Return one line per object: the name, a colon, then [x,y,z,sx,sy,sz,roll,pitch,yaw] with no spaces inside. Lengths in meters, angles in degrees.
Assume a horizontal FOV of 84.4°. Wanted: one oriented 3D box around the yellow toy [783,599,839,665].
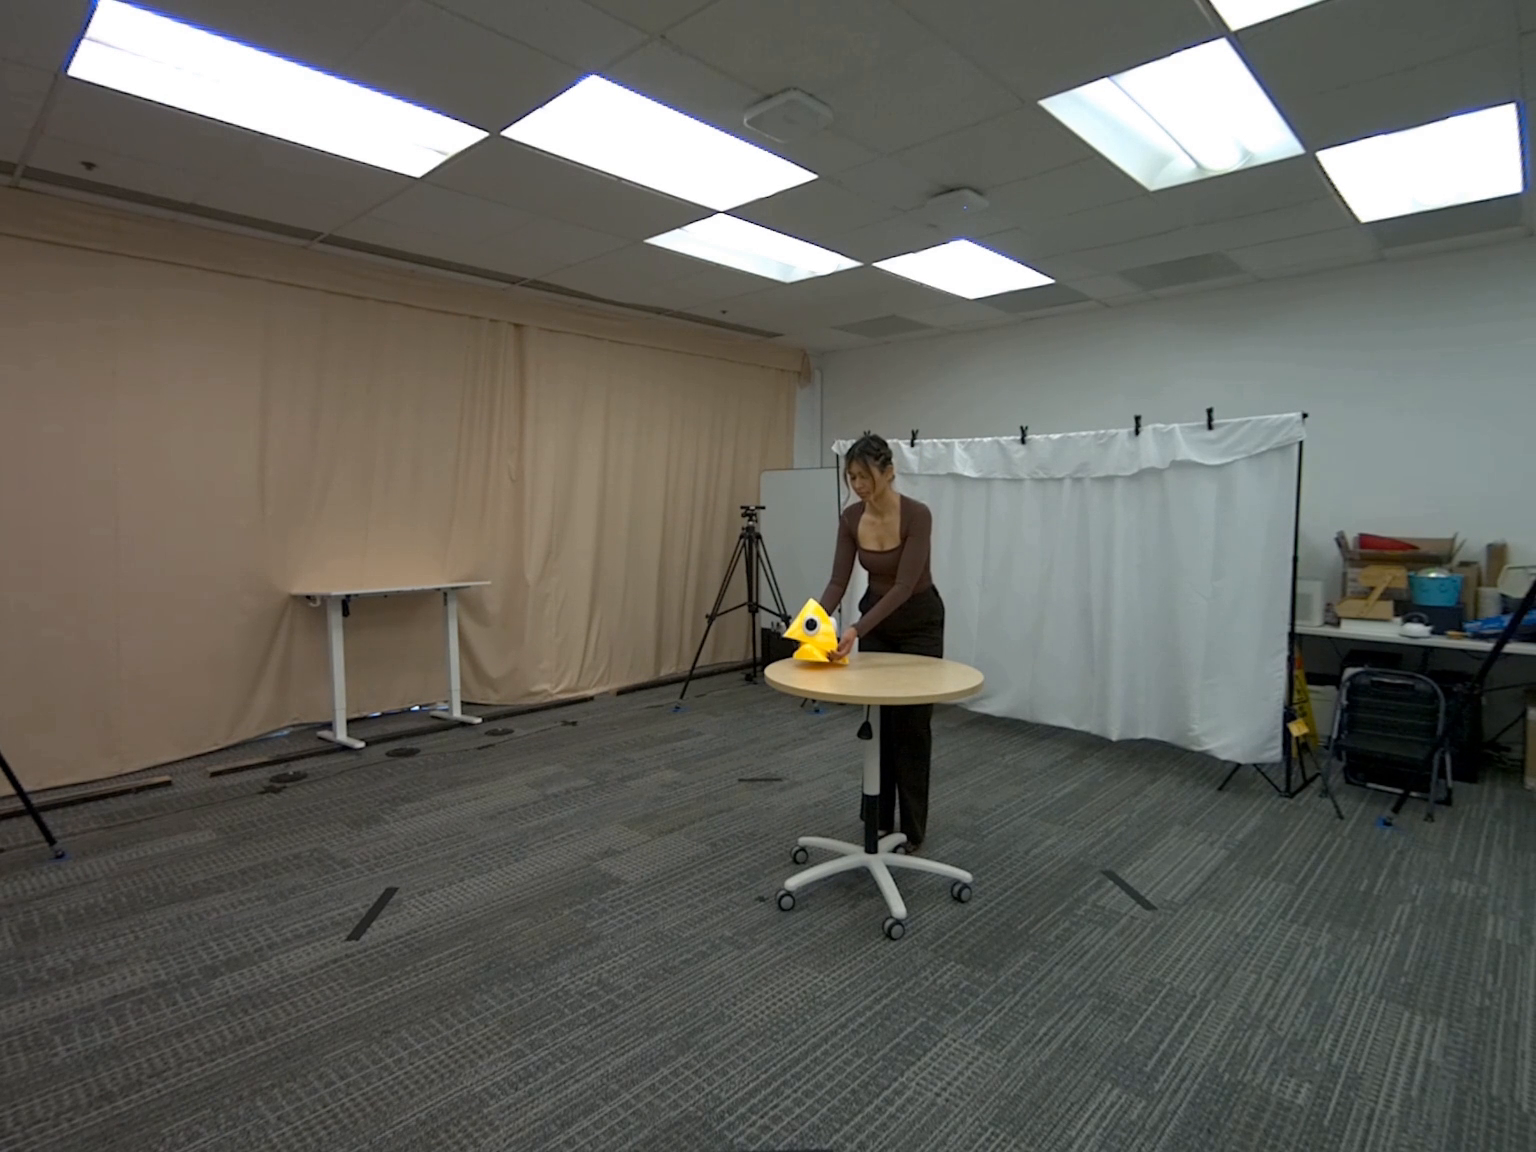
yellow toy: [0.190,0.200,3.137,0.198,0.231,0.199,9,-7,-40]
